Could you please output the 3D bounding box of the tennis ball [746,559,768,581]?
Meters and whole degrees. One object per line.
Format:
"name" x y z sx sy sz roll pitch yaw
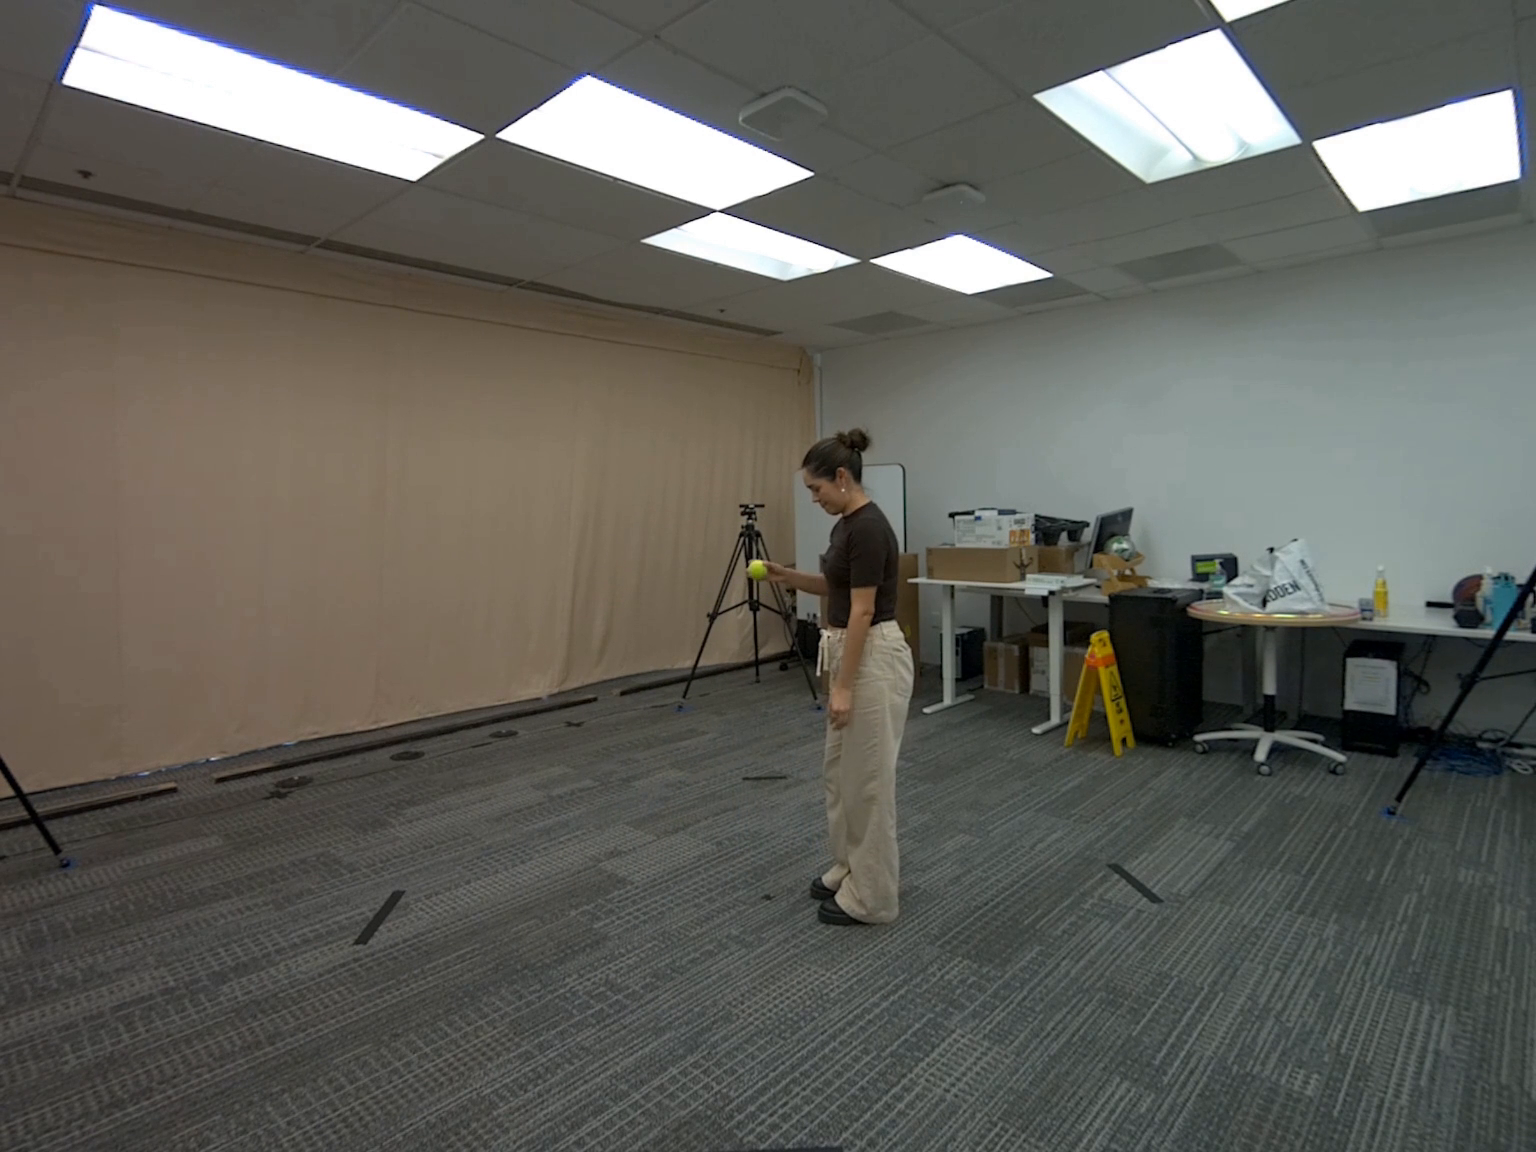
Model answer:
"tennis ball" -0.018 -0.012 2.940 0.066 0.066 0.067 -1 4 -2
